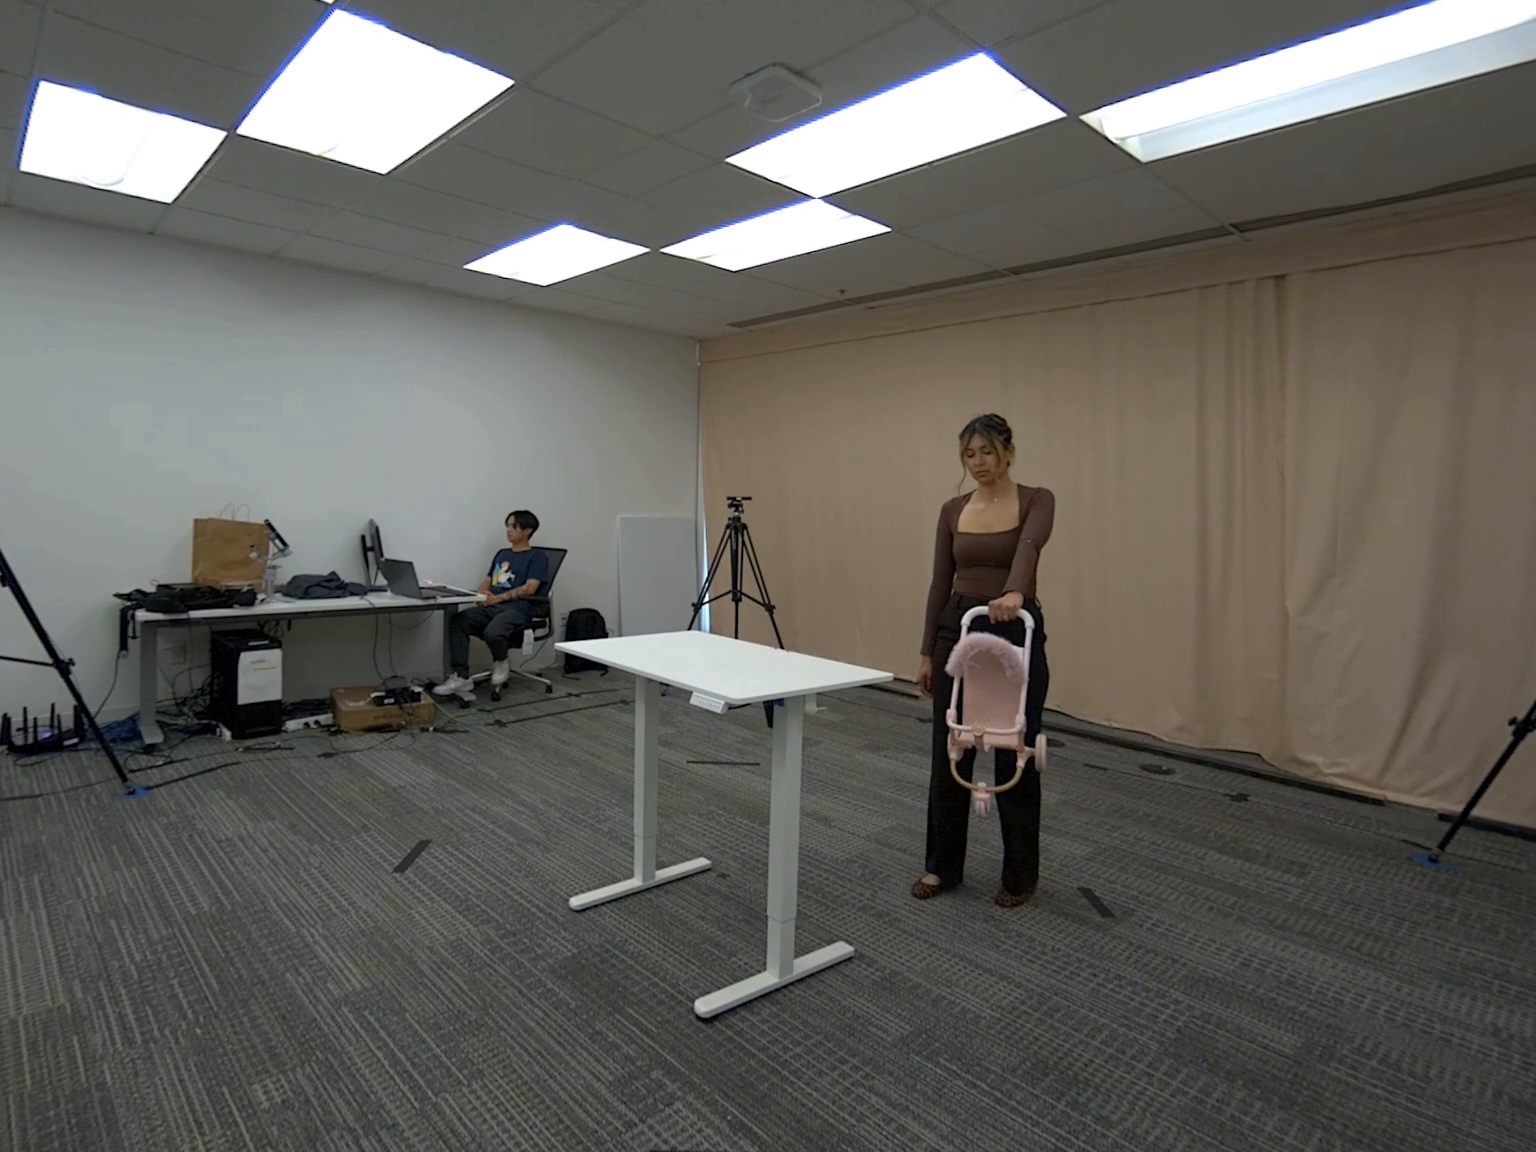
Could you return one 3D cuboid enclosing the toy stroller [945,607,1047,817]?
[{"bbox_3d":[0.639,0.390,2.422,0.287,0.531,0.336,2,10,30],"label":"toy stroller"}]
